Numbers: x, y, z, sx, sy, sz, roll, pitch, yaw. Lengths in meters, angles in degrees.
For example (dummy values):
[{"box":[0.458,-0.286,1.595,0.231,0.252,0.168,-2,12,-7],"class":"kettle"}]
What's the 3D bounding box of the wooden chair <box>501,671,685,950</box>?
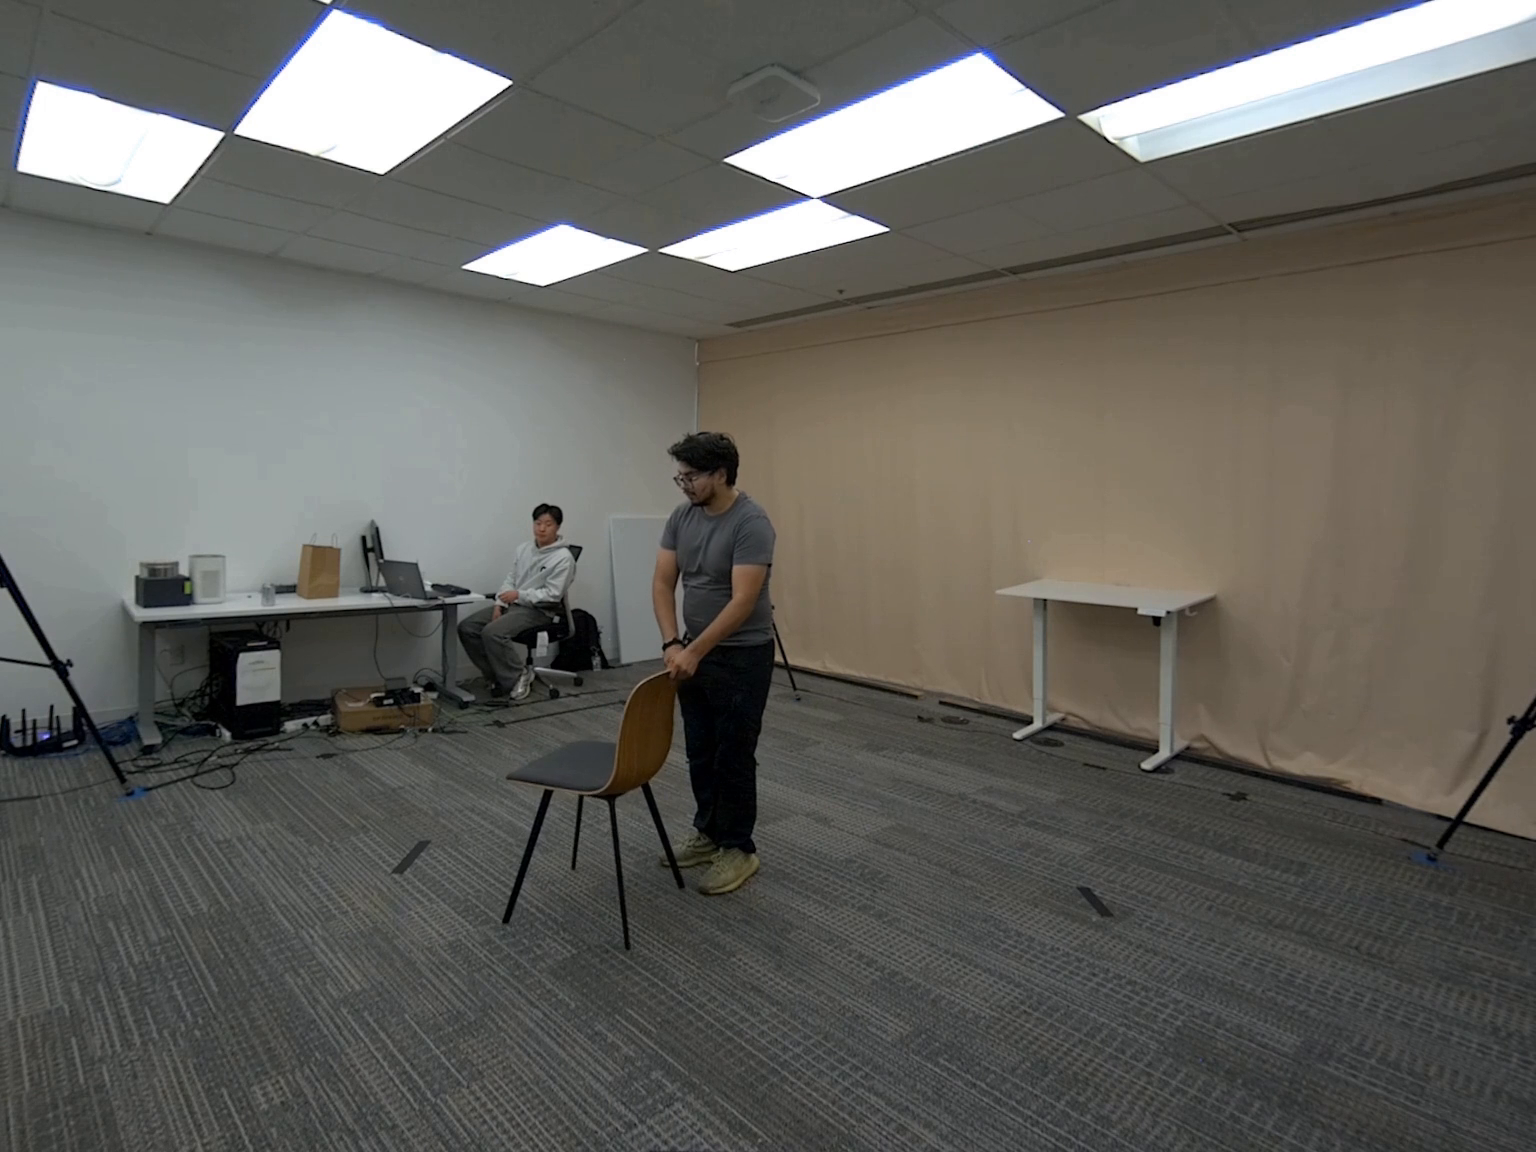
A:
[{"box":[-0.581,0.695,2.825,0.531,0.874,0.472,7,5,17],"class":"wooden chair"}]
